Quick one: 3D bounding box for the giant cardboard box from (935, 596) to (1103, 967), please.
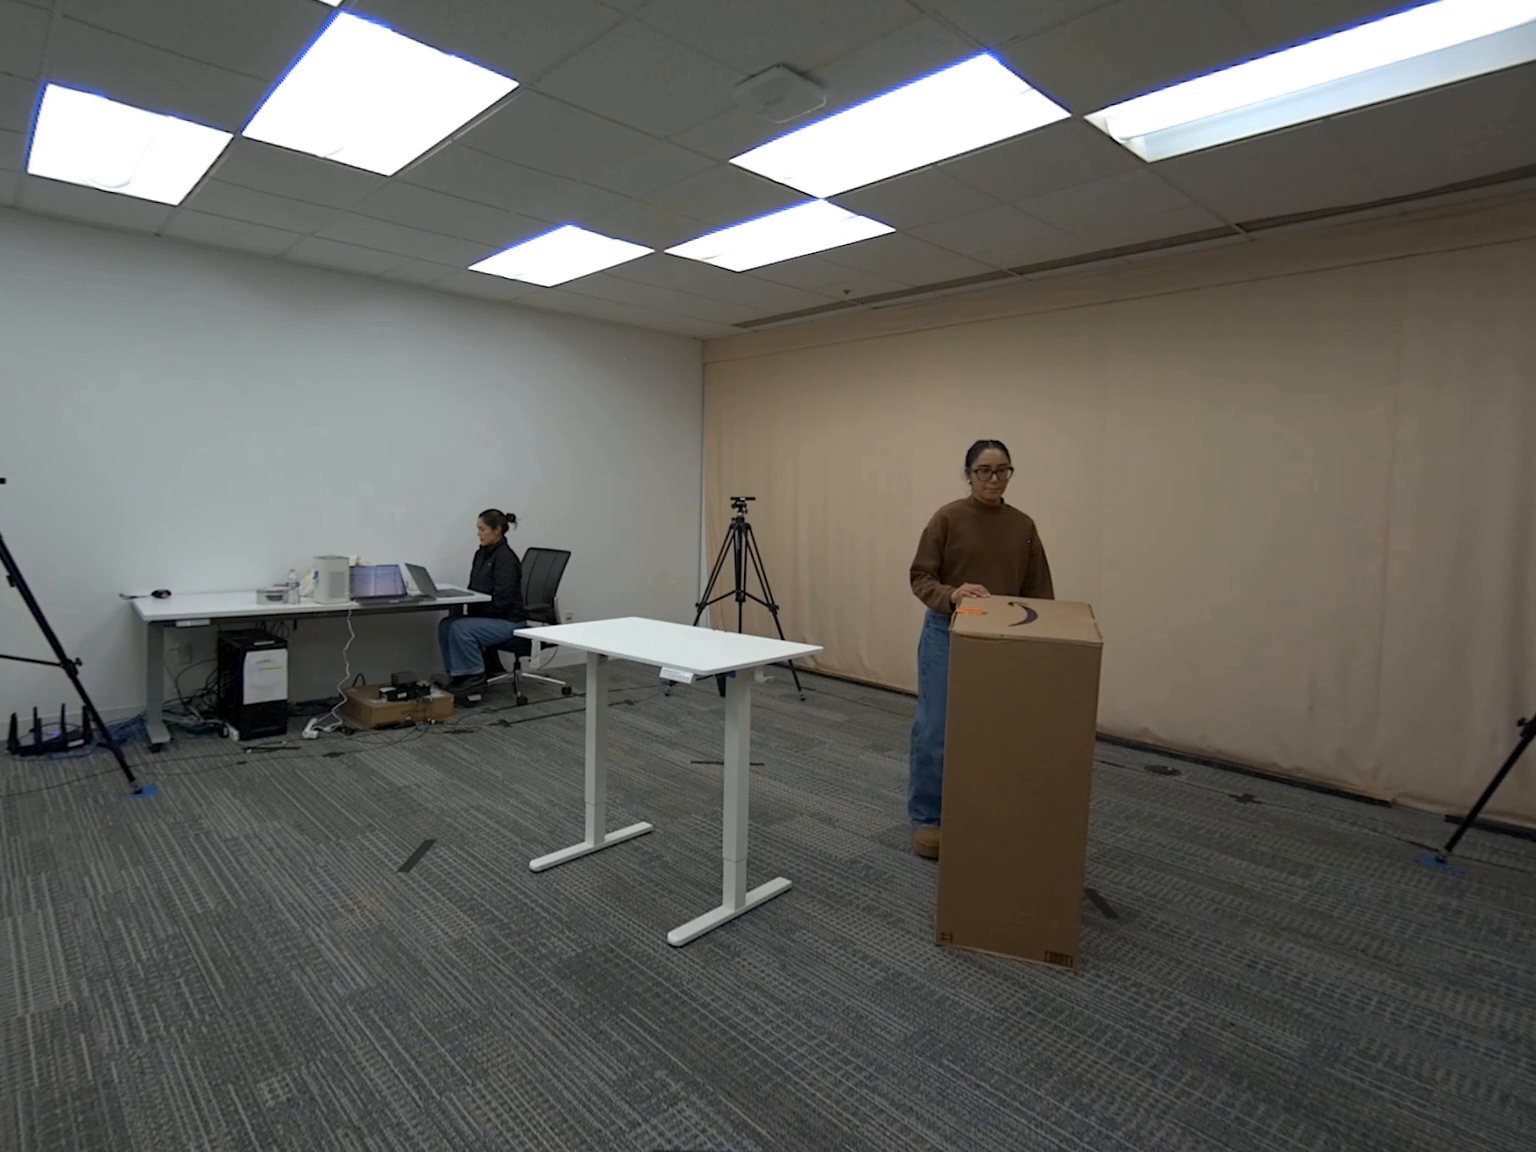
[{"bbox_3d":[0.802,0.626,2.780,0.433,1.019,0.572,4,9,18],"label":"giant cardboard box"}]
